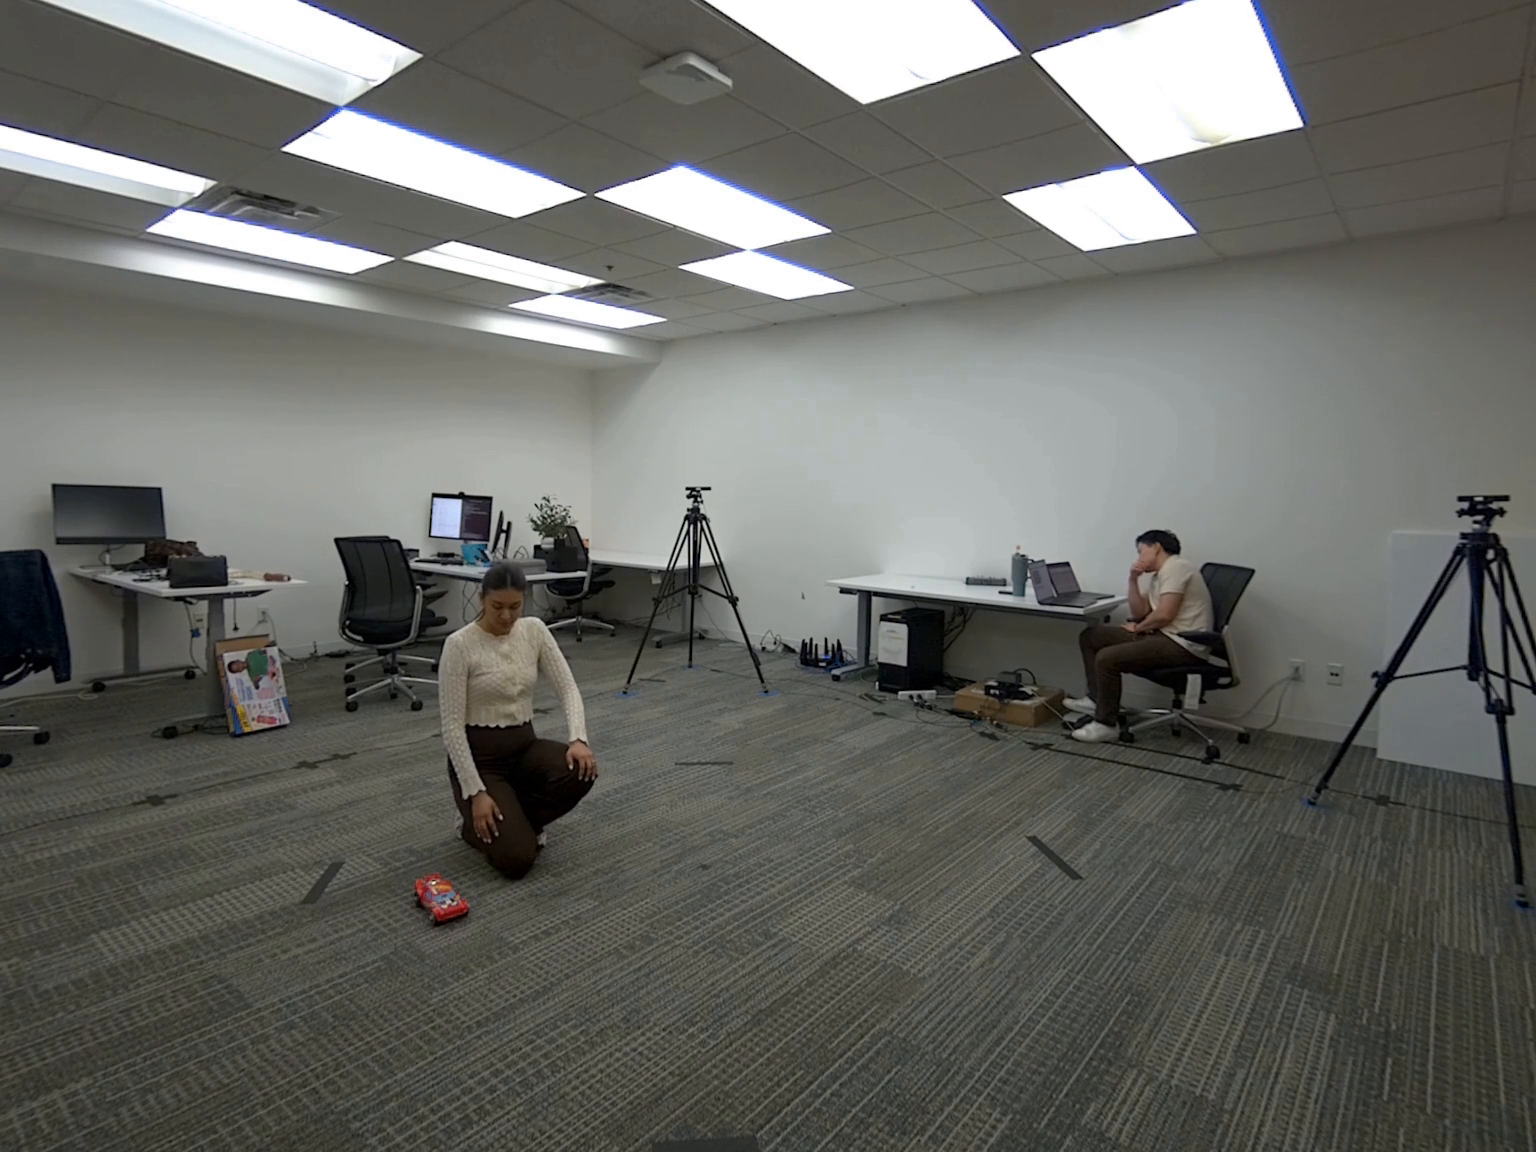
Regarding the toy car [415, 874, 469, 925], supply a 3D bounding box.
[{"bbox_3d":[-1.093,1.056,2.783,0.126,0.082,0.265,-4,18,-38],"label":"toy car"}]
